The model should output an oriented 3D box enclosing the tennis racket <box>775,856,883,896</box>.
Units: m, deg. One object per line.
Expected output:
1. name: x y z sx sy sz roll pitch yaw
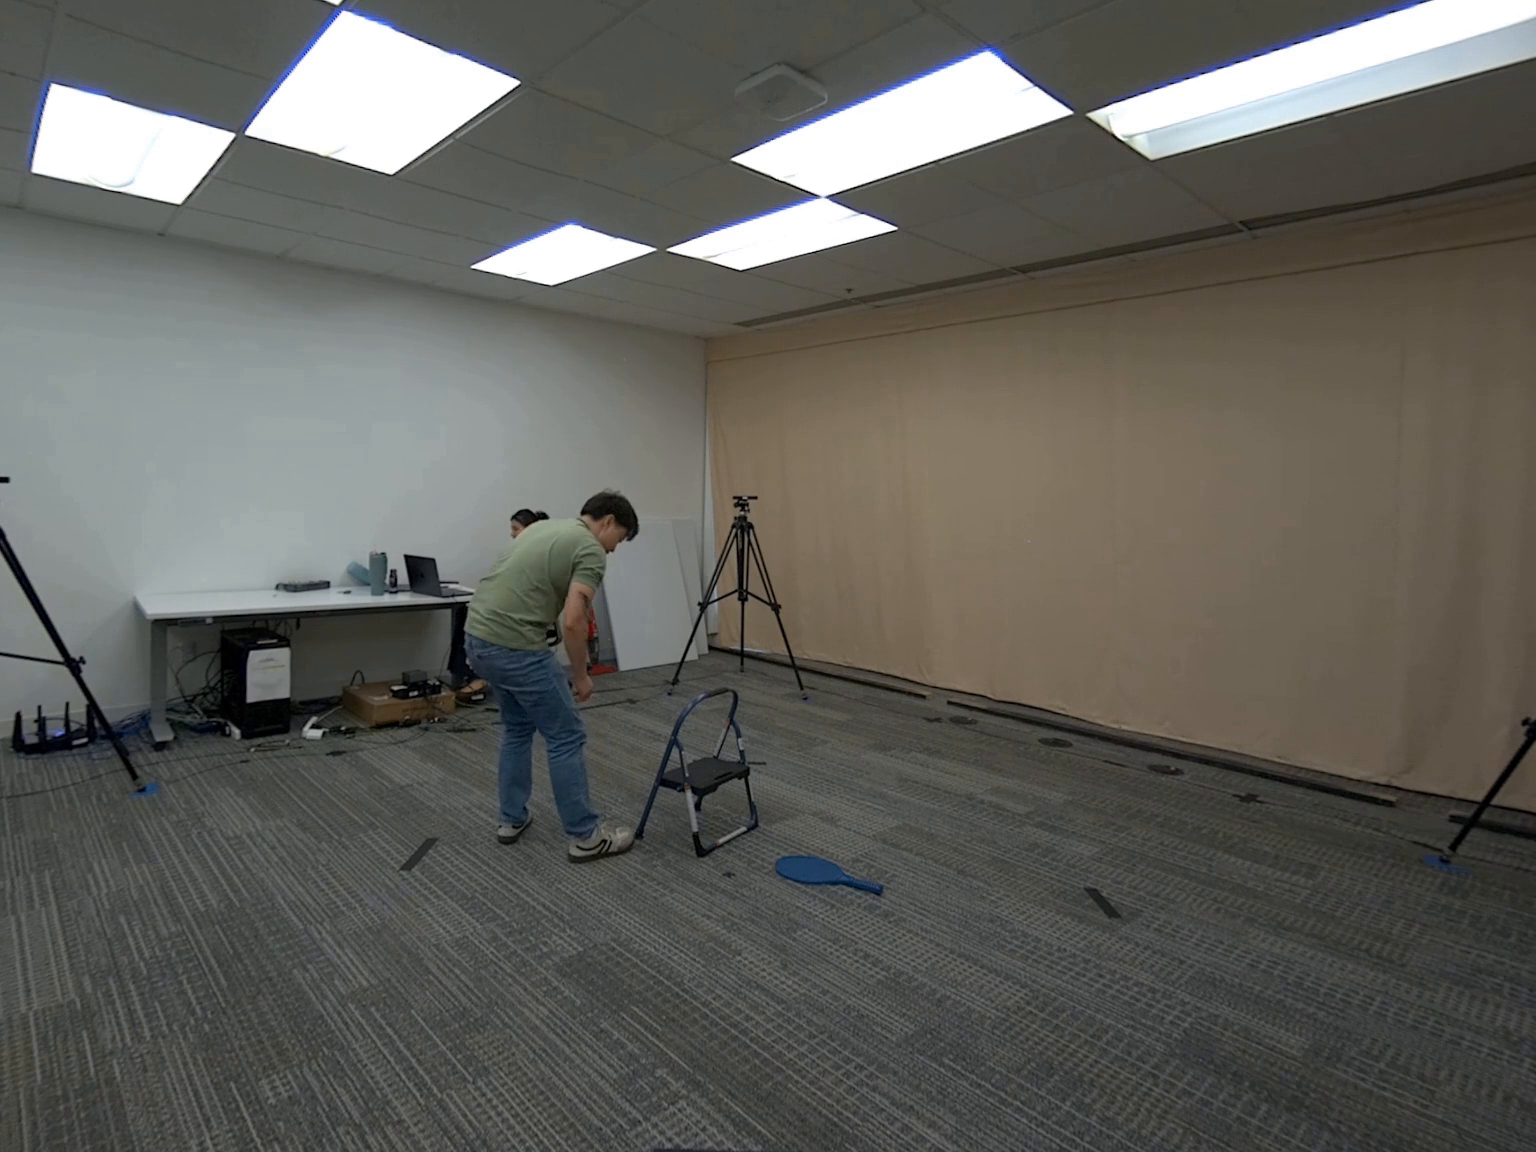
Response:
1. tennis racket: 0.213 1.097 3.097 0.443 0.031 0.209 3 6 34
